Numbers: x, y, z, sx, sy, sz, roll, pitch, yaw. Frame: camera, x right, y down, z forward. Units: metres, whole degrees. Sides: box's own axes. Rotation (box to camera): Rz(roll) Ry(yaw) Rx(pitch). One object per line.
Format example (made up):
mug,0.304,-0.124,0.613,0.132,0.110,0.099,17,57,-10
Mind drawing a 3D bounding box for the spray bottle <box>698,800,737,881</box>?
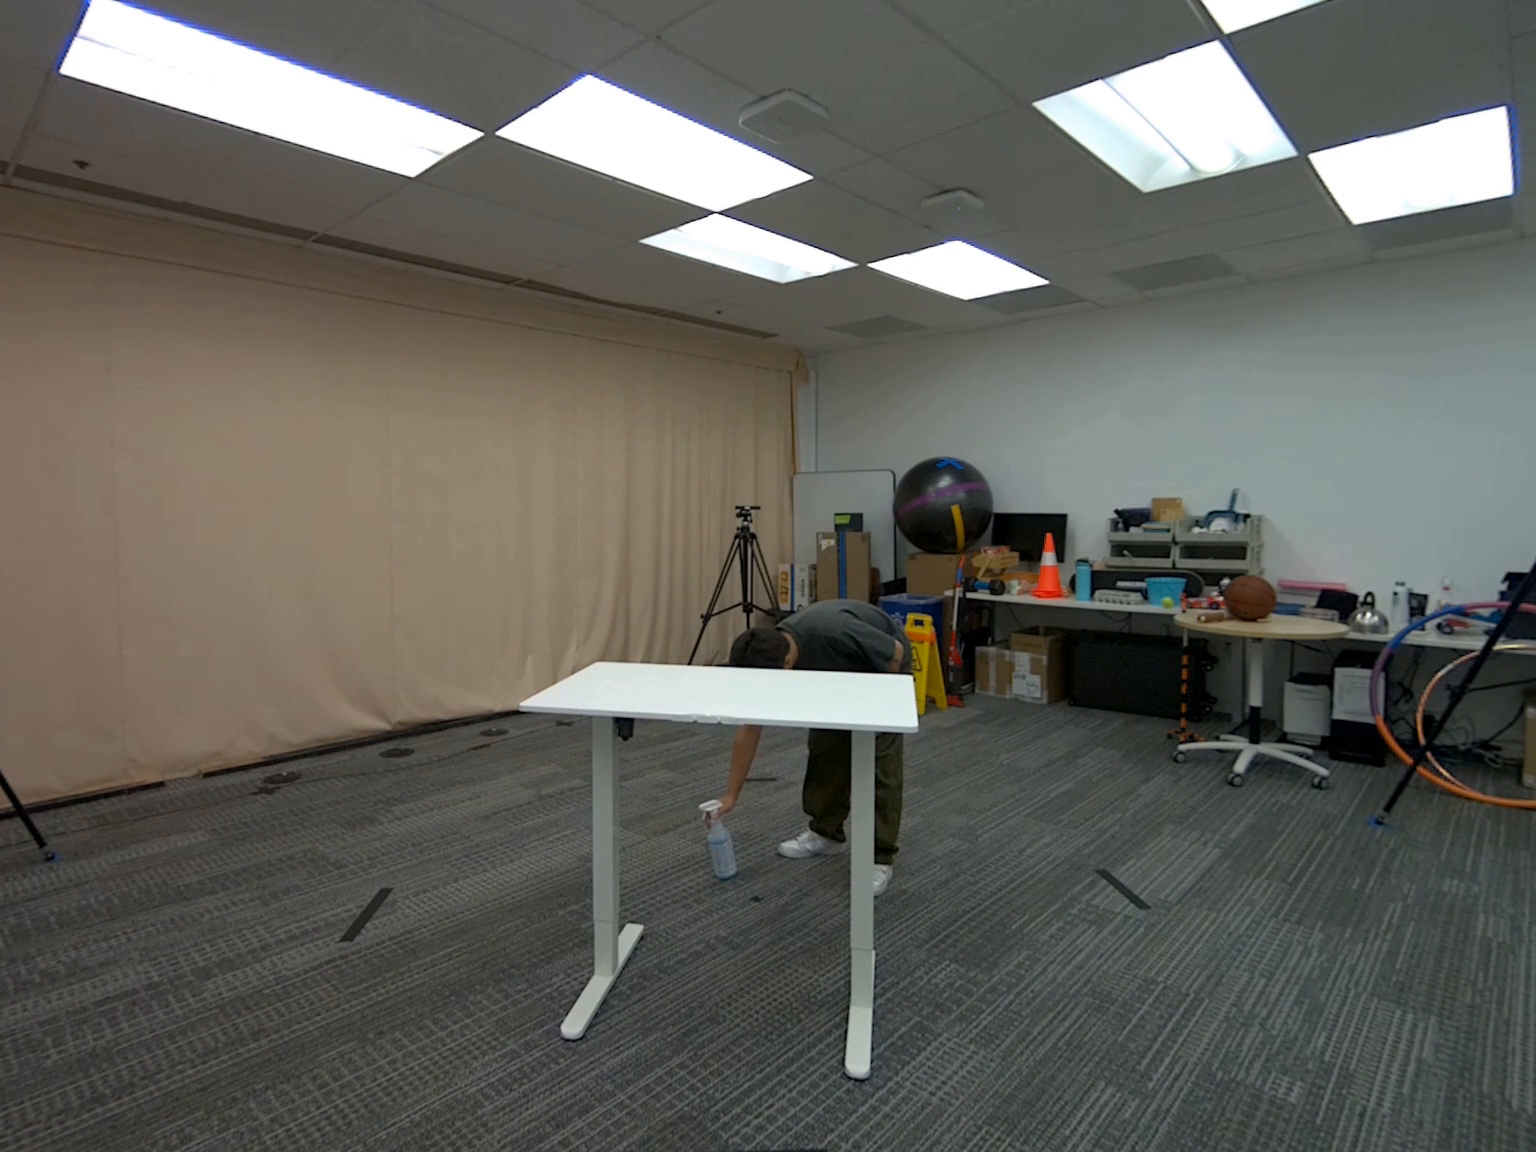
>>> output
spray bottle,-0.179,0.988,3.154,0.090,0.295,0.087,-11,9,2
